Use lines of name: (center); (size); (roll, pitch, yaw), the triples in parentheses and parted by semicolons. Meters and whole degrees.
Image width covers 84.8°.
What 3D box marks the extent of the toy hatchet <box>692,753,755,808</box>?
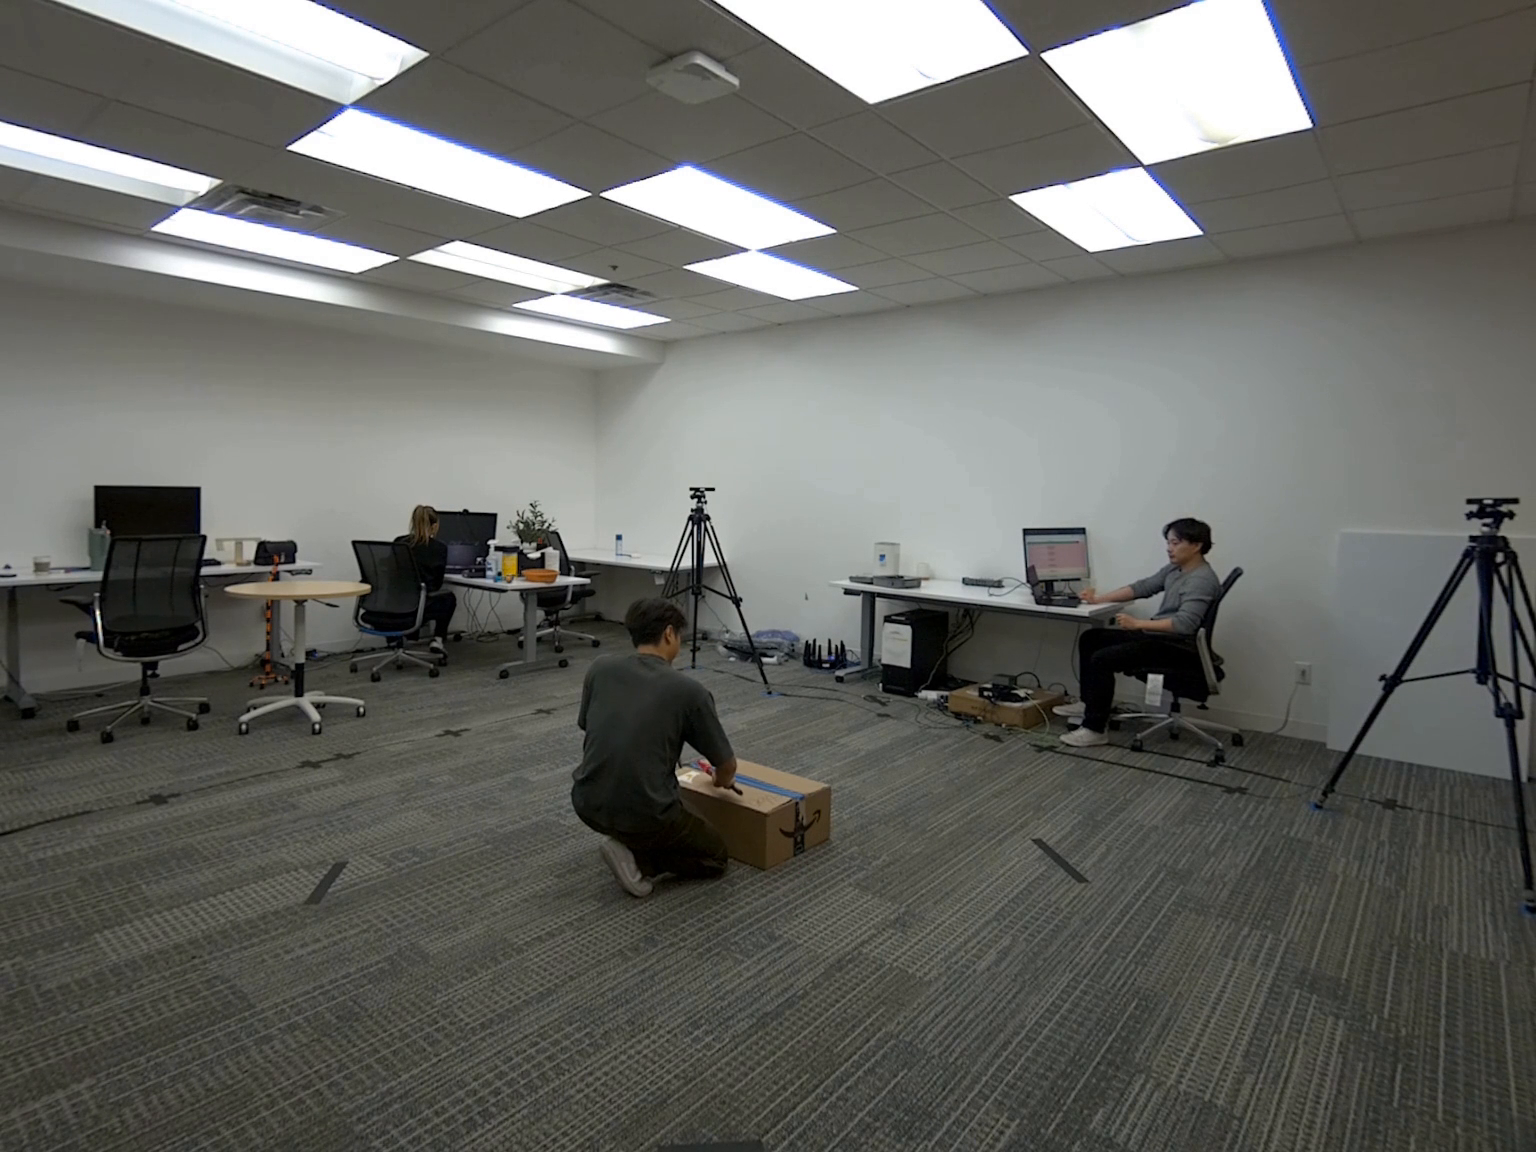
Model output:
toy hatchet: (-0.180, 0.802, 3.315); (0.281, 0.029, 0.126); (27, -17, 49)
